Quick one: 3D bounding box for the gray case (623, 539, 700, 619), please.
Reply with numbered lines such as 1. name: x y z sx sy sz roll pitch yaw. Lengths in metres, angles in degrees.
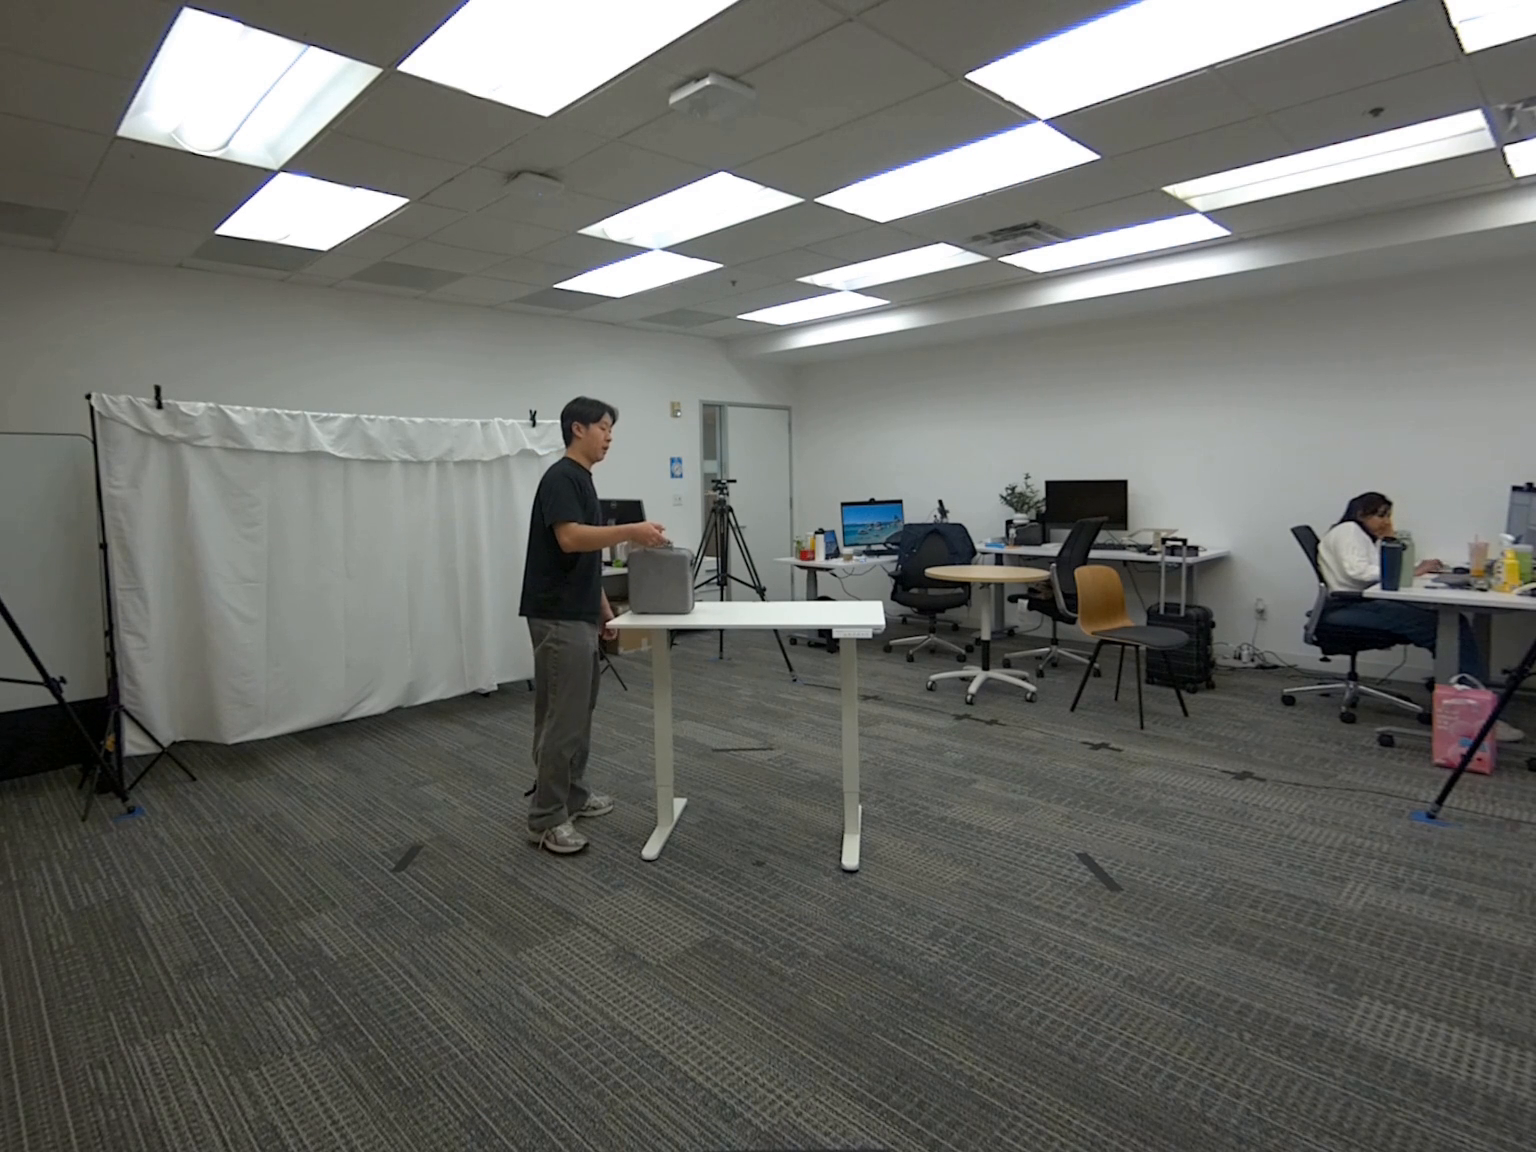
1. gray case: -0.413 0.009 3.326 0.266 0.285 0.103 -1 8 10
